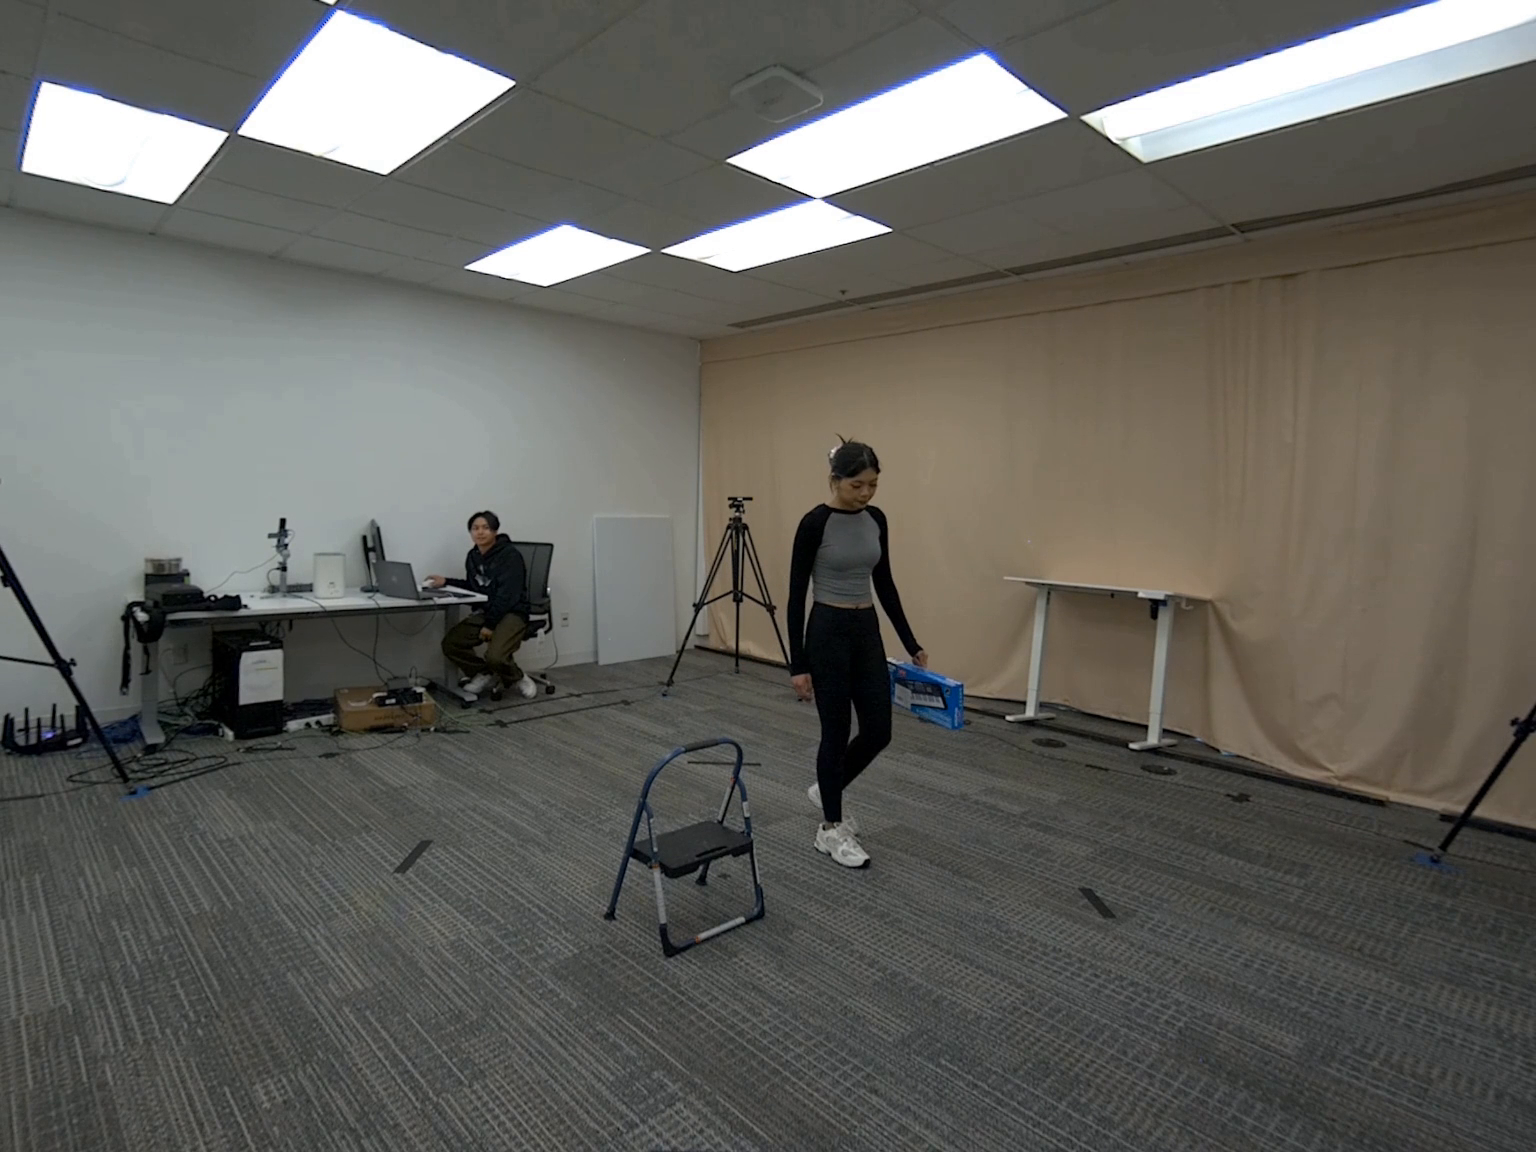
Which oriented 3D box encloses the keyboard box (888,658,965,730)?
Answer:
[{"bbox_3d":[0.596,0.461,3.366,0.058,0.175,0.448,-5,11,-29],"label":"keyboard box"}]
